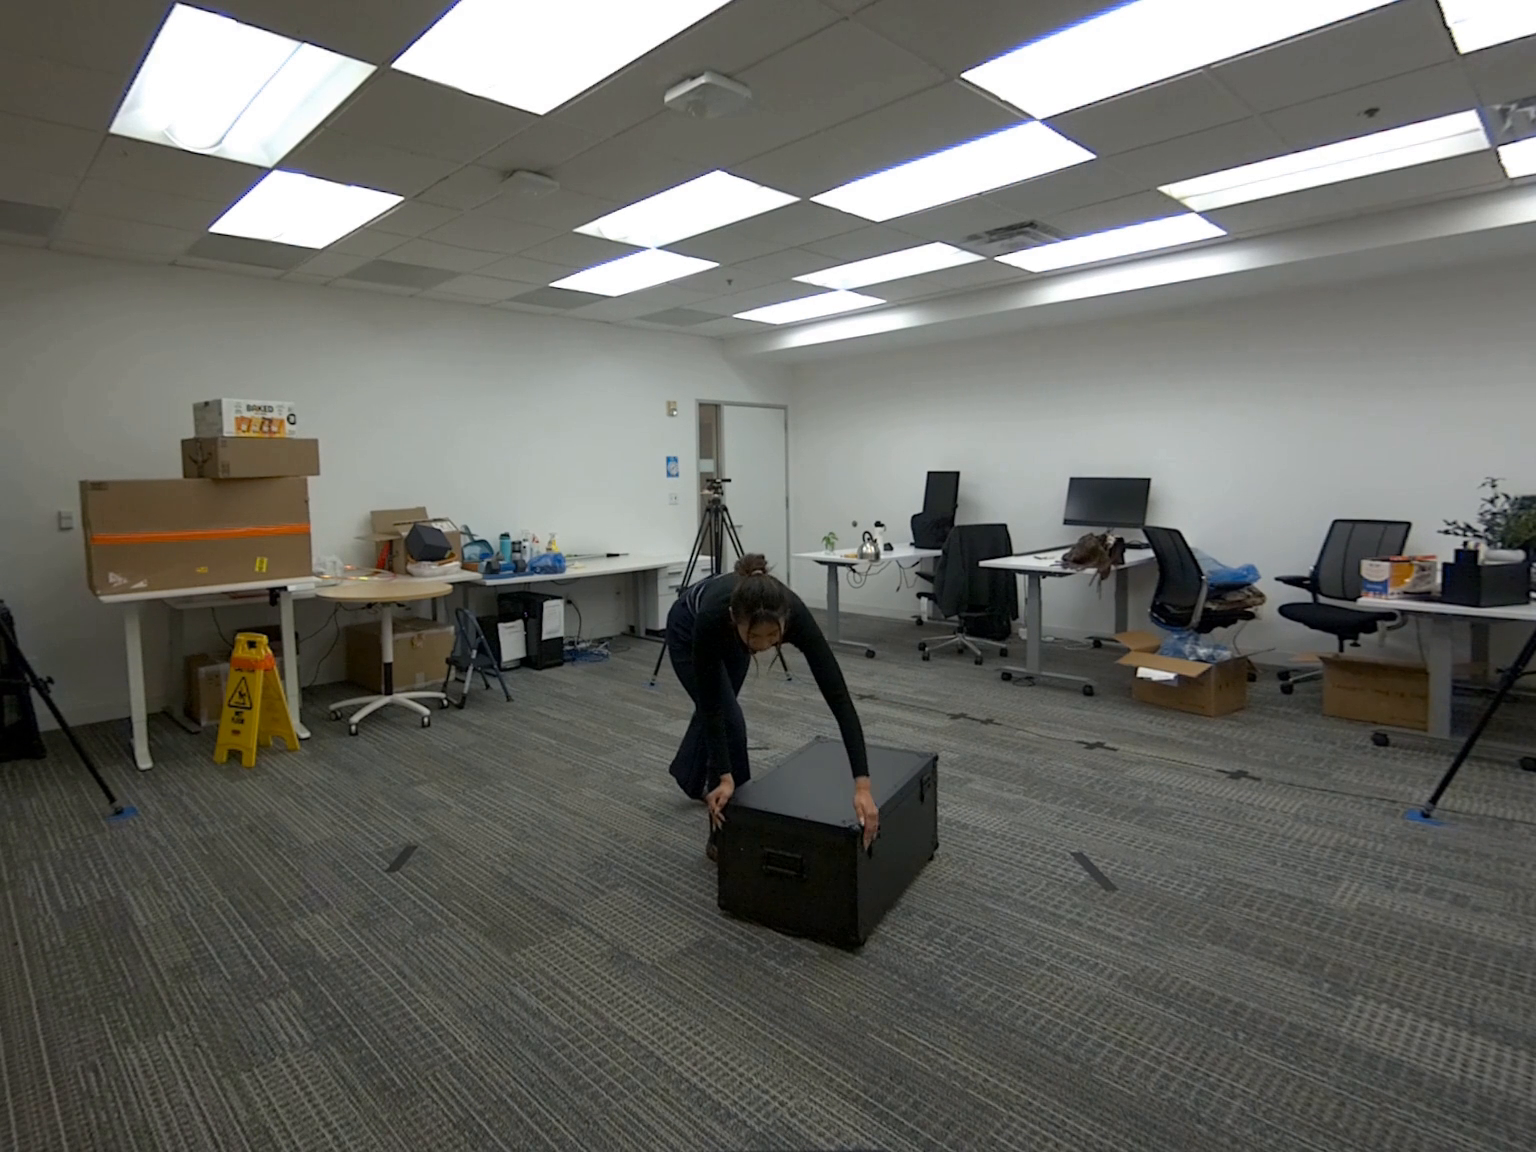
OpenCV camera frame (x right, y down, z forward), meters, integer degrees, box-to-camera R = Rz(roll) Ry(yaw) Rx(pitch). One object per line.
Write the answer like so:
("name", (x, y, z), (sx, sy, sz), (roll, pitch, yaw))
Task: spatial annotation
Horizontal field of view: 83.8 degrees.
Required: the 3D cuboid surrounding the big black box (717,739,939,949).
("big black box", (0.254, 0.866, 2.958), (0.534, 0.394, 0.844), (1, 7, 29))
